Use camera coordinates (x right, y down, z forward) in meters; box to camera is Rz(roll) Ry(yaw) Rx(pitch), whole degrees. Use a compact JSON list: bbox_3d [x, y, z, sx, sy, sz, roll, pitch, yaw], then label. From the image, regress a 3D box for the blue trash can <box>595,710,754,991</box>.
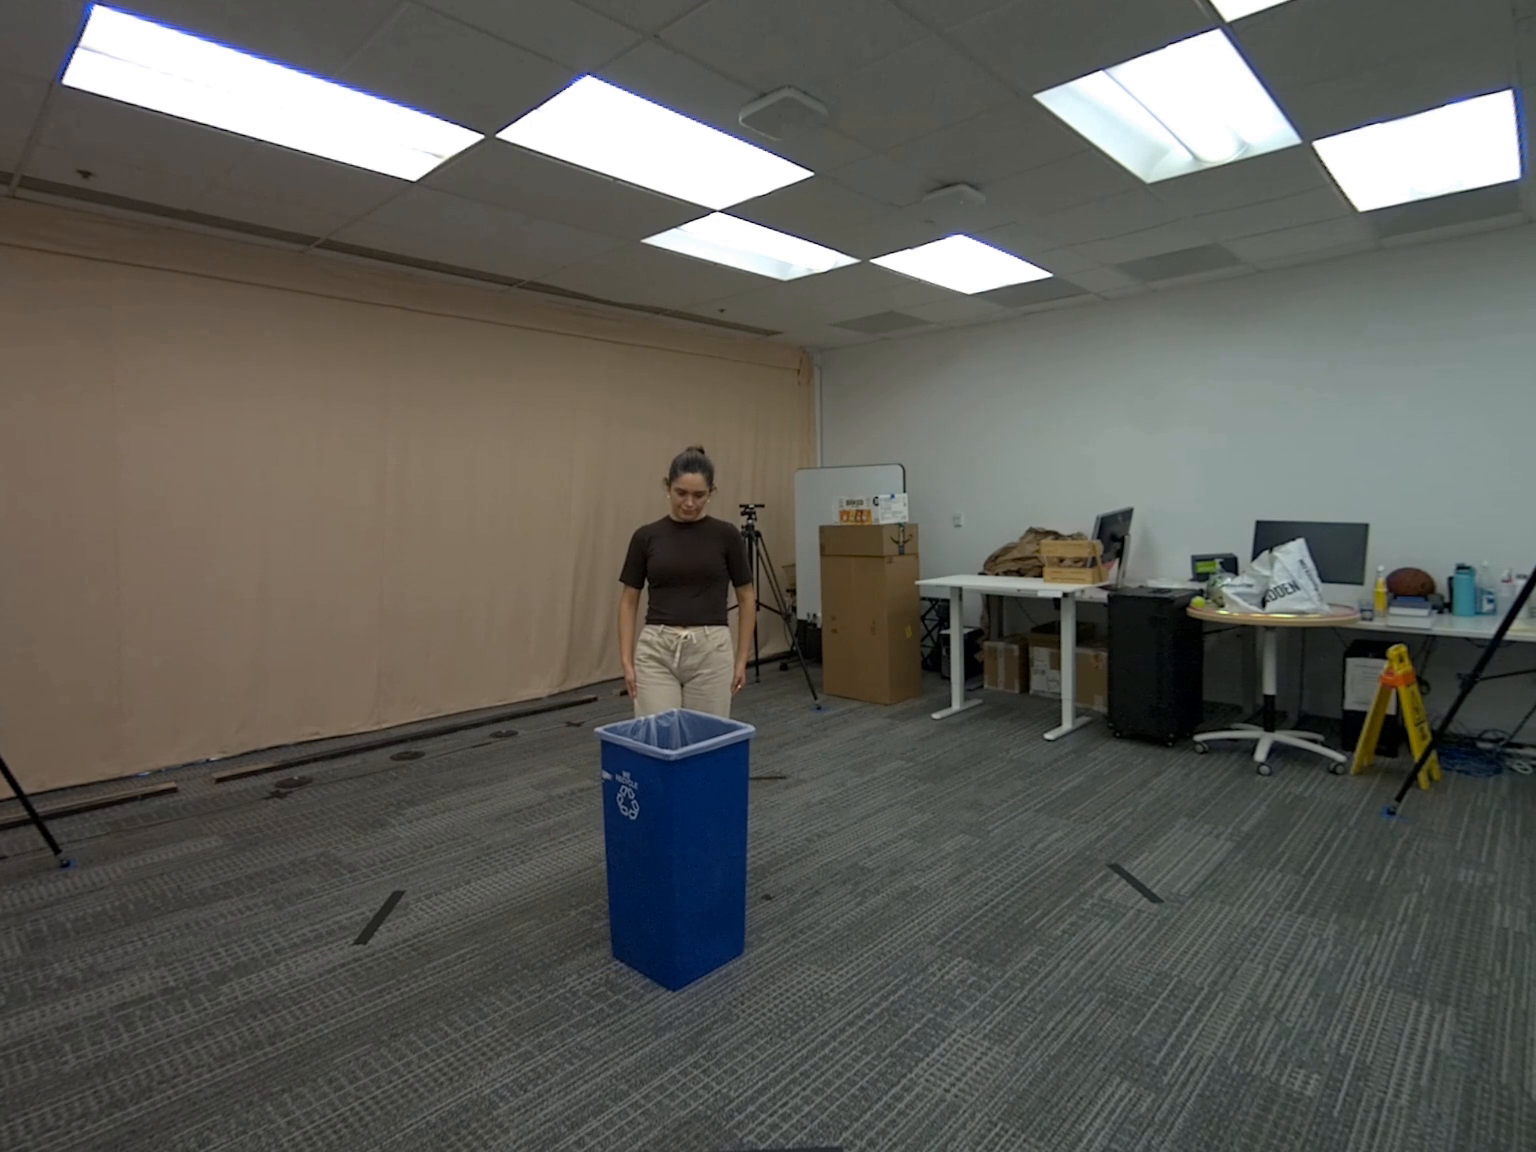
[{"bbox_3d":[-0.285,0.817,2.590,0.390,0.712,0.362,2,4,43],"label":"blue trash can"}]
